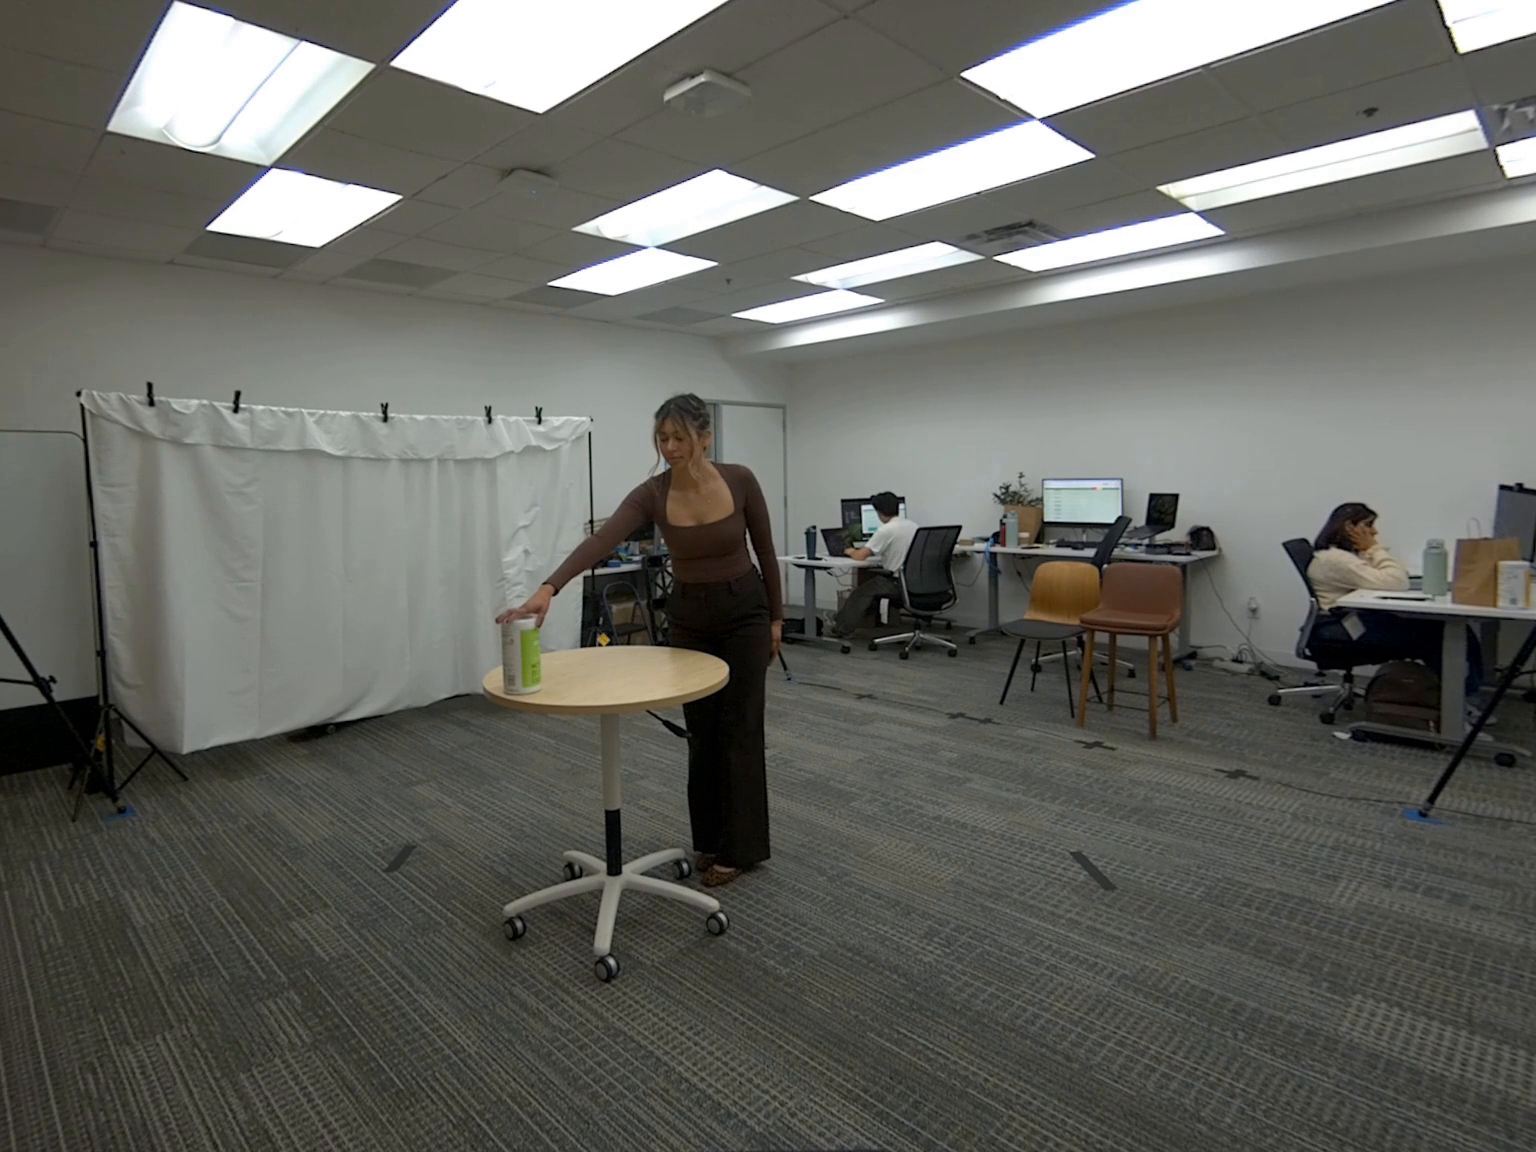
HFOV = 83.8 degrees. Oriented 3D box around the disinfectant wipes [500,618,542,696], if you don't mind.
[{"bbox_3d":[-0.715,0.230,2.471,0.118,0.217,0.118,0,4,-2],"label":"disinfectant wipes"}]
